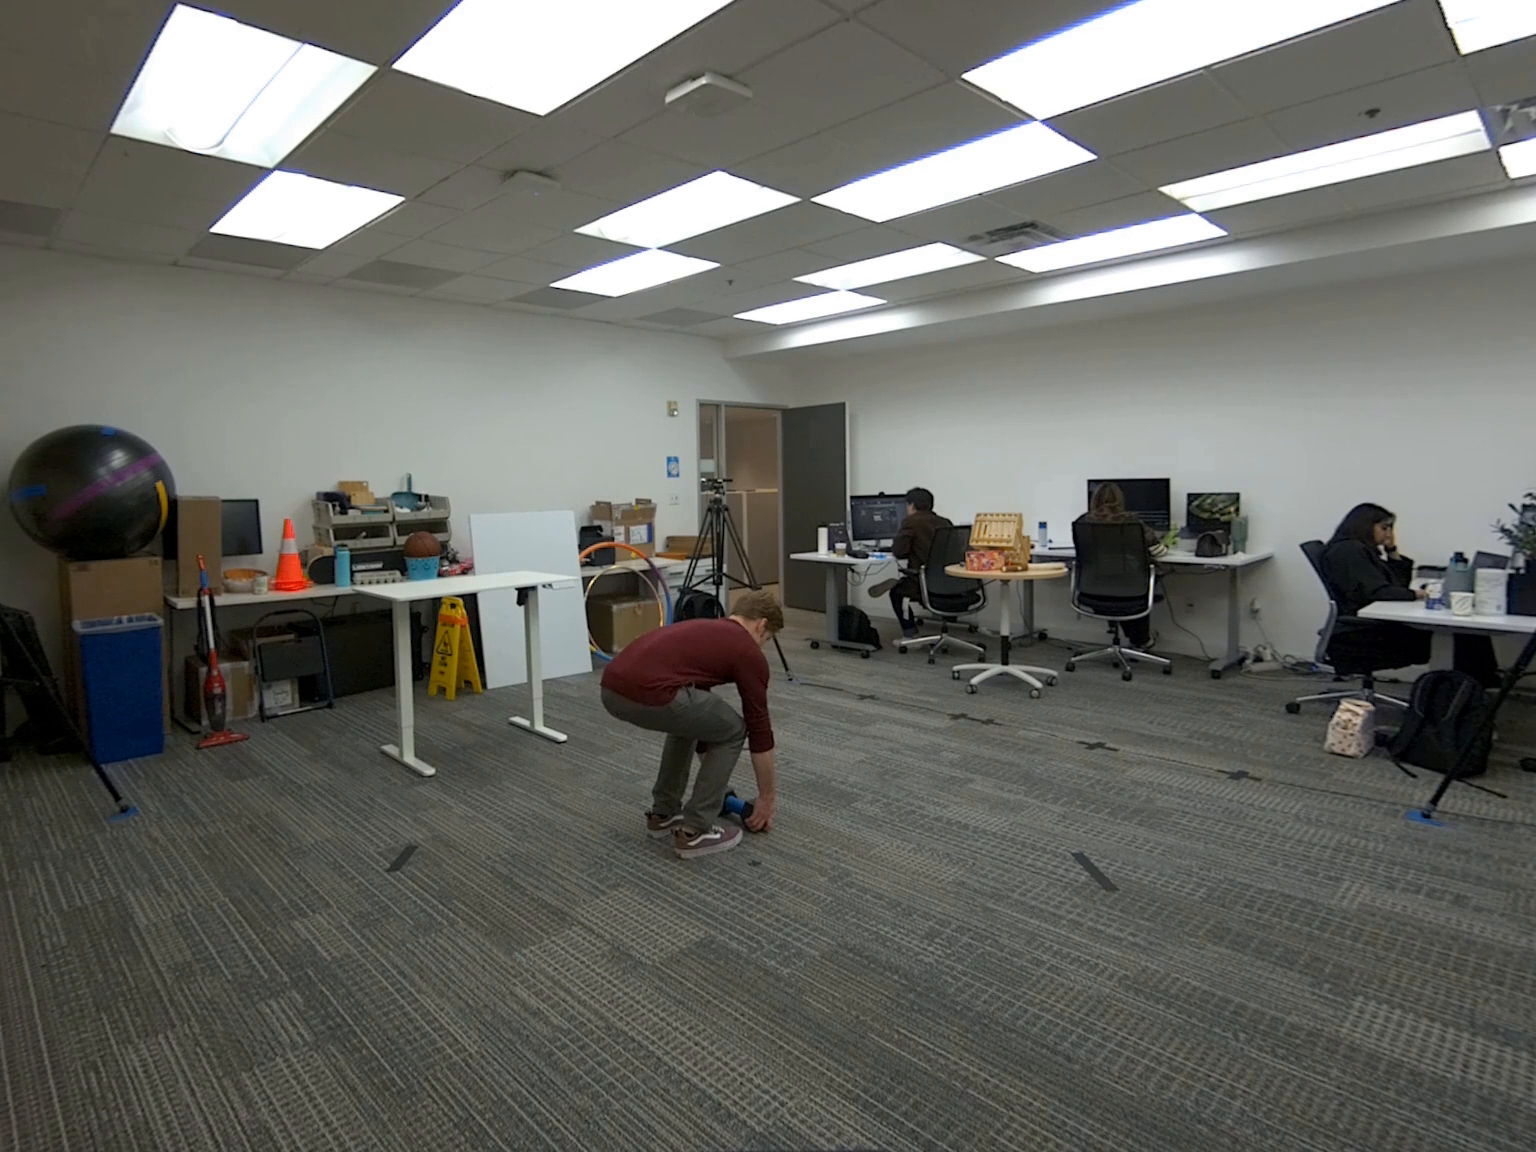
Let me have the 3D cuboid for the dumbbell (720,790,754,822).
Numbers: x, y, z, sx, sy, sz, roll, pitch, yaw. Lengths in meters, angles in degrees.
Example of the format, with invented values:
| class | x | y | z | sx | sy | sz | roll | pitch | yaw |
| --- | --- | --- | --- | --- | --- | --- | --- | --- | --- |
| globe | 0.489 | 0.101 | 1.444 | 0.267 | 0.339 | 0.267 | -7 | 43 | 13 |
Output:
| class | x | y | z | sx | sy | sz | roll | pitch | yaw |
| --- | --- | --- | --- | --- | --- | --- | --- | --- | --- |
| dumbbell | -0.120 | 0.938 | 3.497 | 0.105 | 0.124 | 0.303 | 37 | -19 | -36 |
